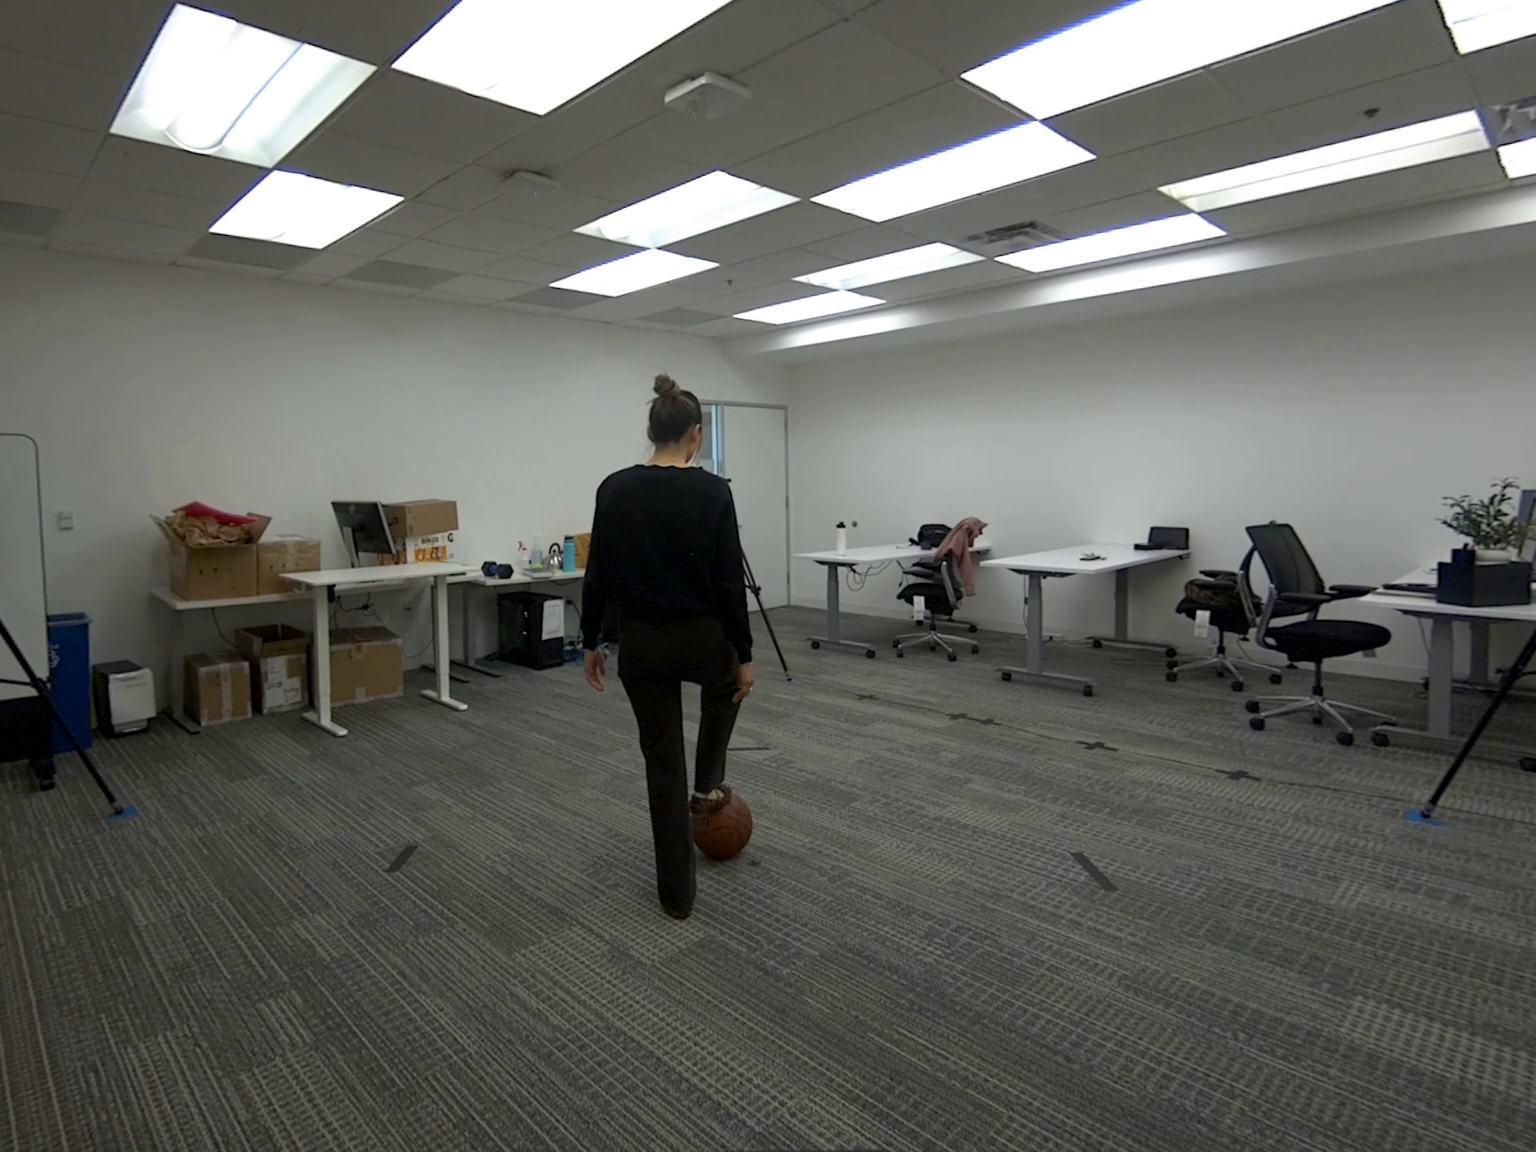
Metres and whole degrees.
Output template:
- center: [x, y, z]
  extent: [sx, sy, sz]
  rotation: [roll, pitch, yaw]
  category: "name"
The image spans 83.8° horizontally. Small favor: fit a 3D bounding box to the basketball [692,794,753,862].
- center: [-0.170, 0.924, 3.176]
  extent: [0.236, 0.235, 0.237]
  rotation: [-1, 5, -2]
  category: "basketball"
